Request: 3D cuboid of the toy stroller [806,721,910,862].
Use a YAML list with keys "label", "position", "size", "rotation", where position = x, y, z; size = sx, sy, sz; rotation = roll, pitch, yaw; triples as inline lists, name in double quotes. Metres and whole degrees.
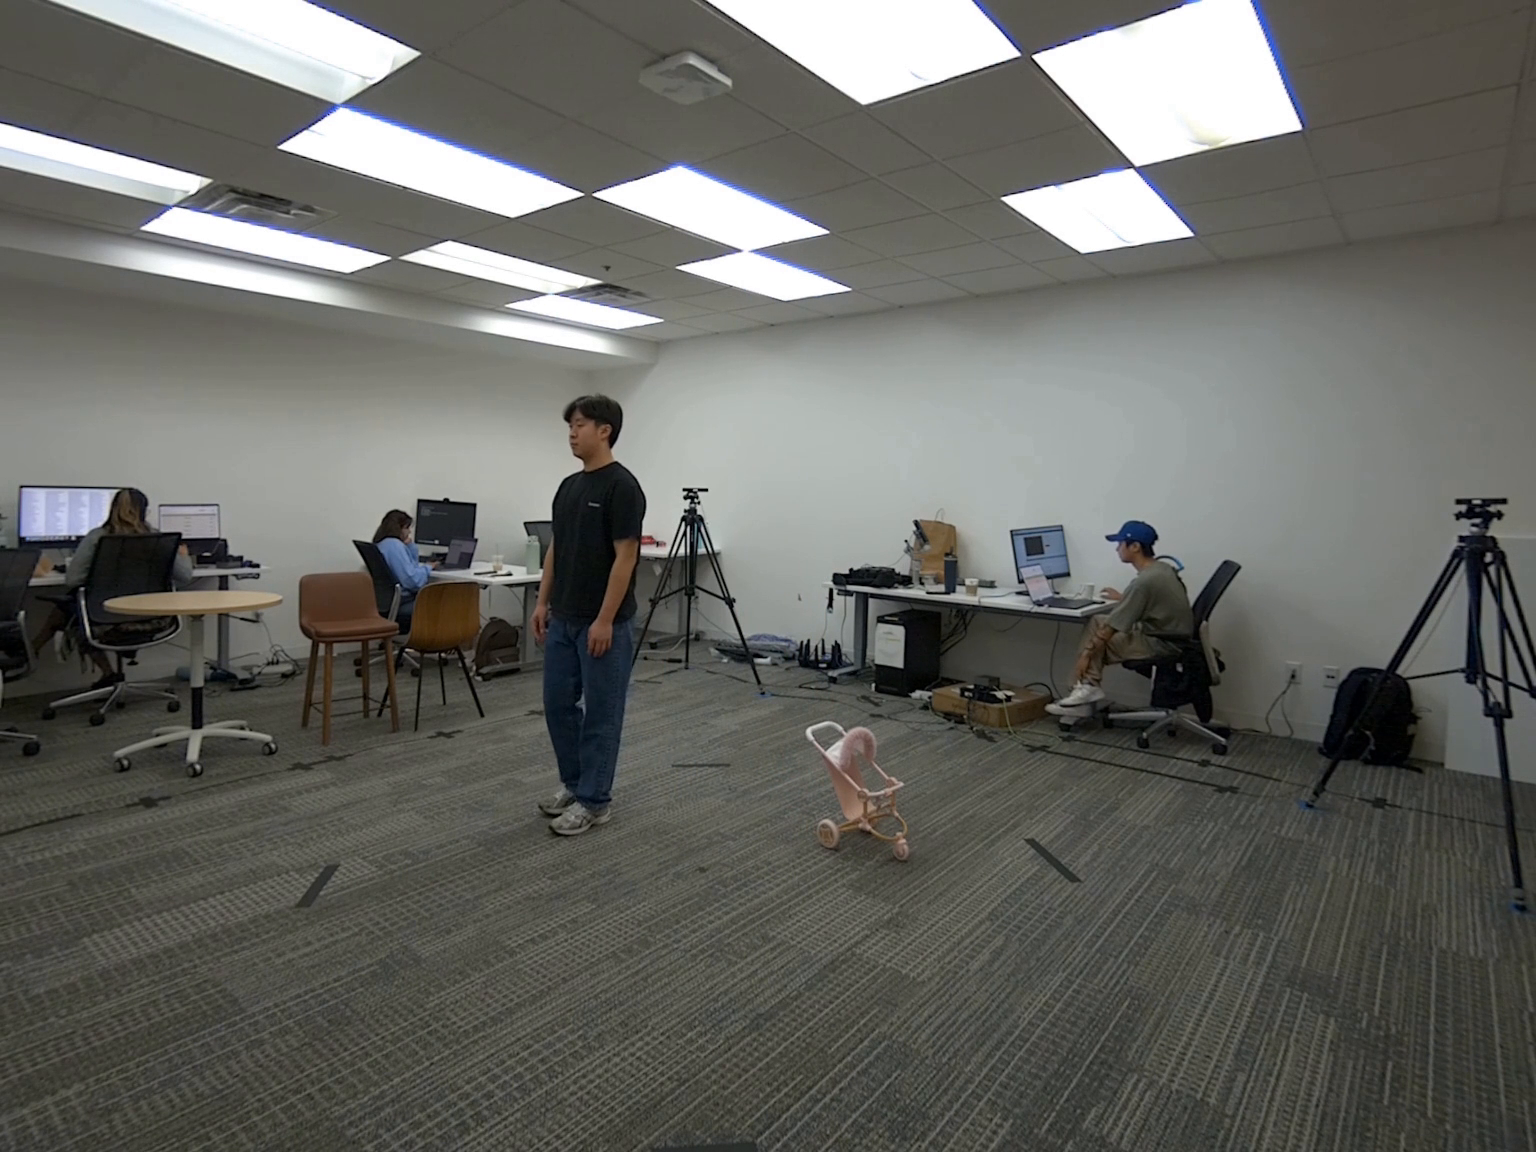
- label: "toy stroller"
  position: [0.360, 0.834, 3.352]
  size: [0.273, 0.540, 0.348]
  rotation: [-3, -11, -41]
